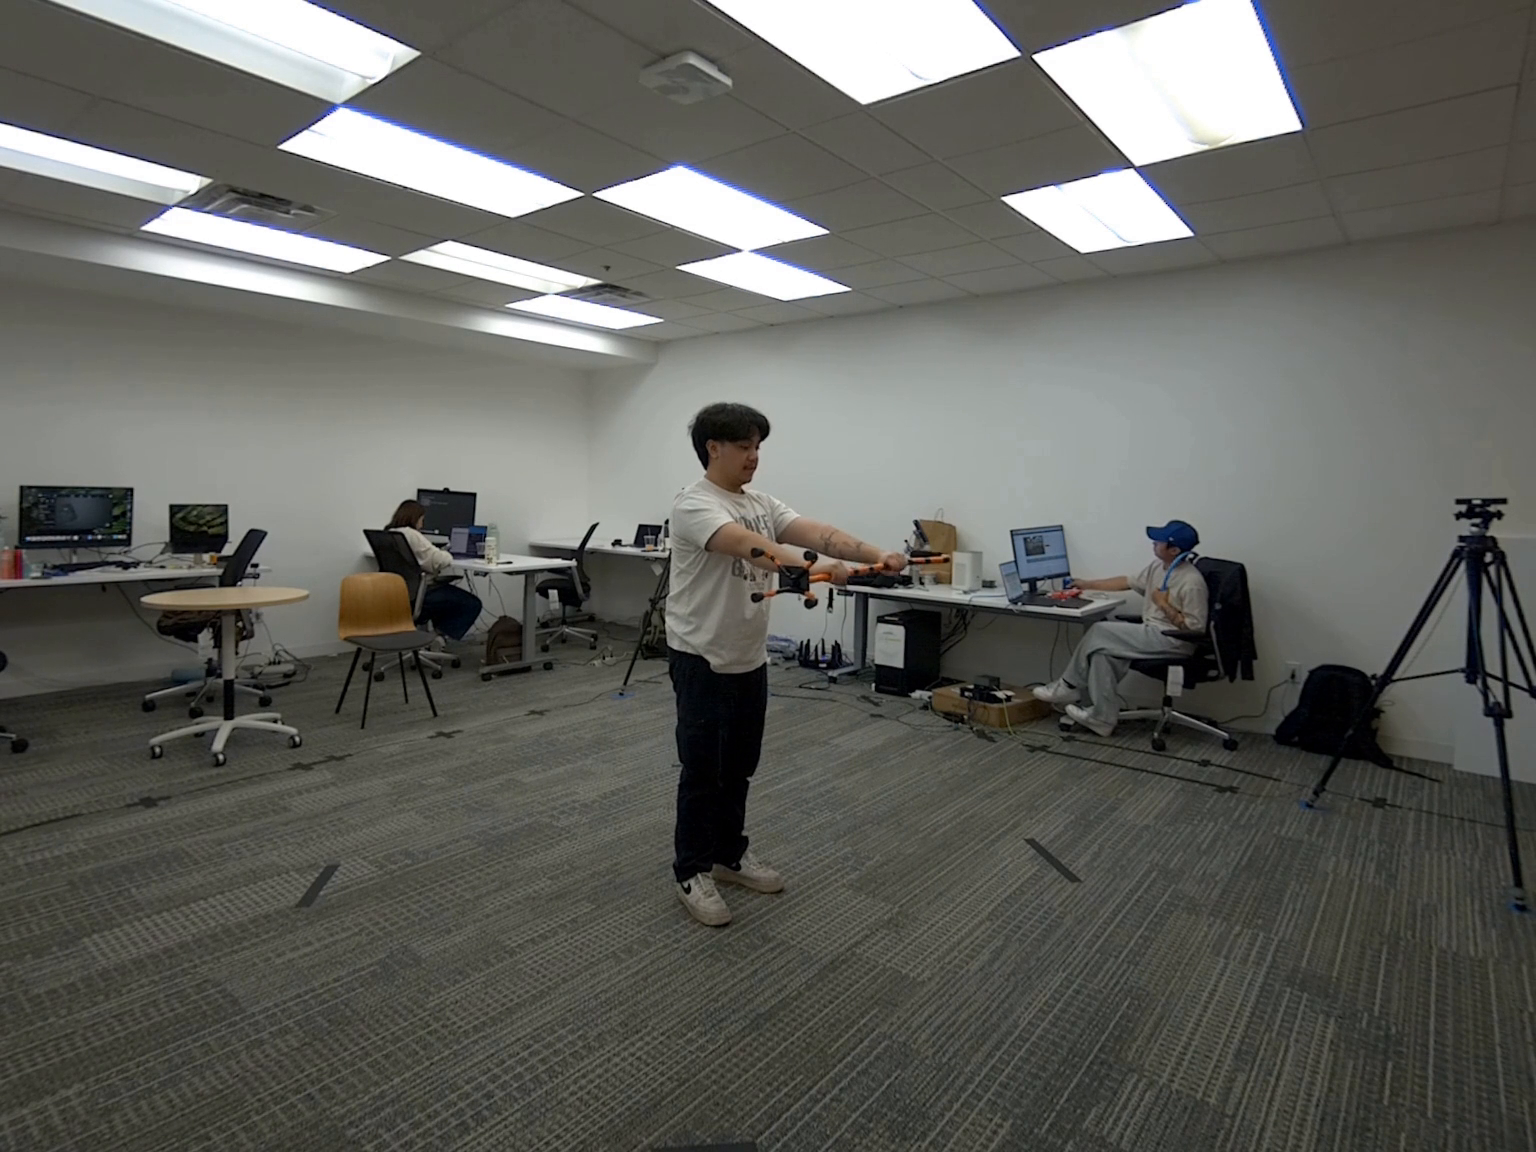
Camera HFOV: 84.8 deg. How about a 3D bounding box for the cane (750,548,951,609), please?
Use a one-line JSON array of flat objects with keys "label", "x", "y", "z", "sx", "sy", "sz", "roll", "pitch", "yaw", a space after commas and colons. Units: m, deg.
[{"label": "cane", "x": 0.309, "y": -0.045, "z": 2.575, "sx": 0.213, "sy": 0.151, "sz": 0.883, "roll": 5, "pitch": 9, "yaw": 40}]
